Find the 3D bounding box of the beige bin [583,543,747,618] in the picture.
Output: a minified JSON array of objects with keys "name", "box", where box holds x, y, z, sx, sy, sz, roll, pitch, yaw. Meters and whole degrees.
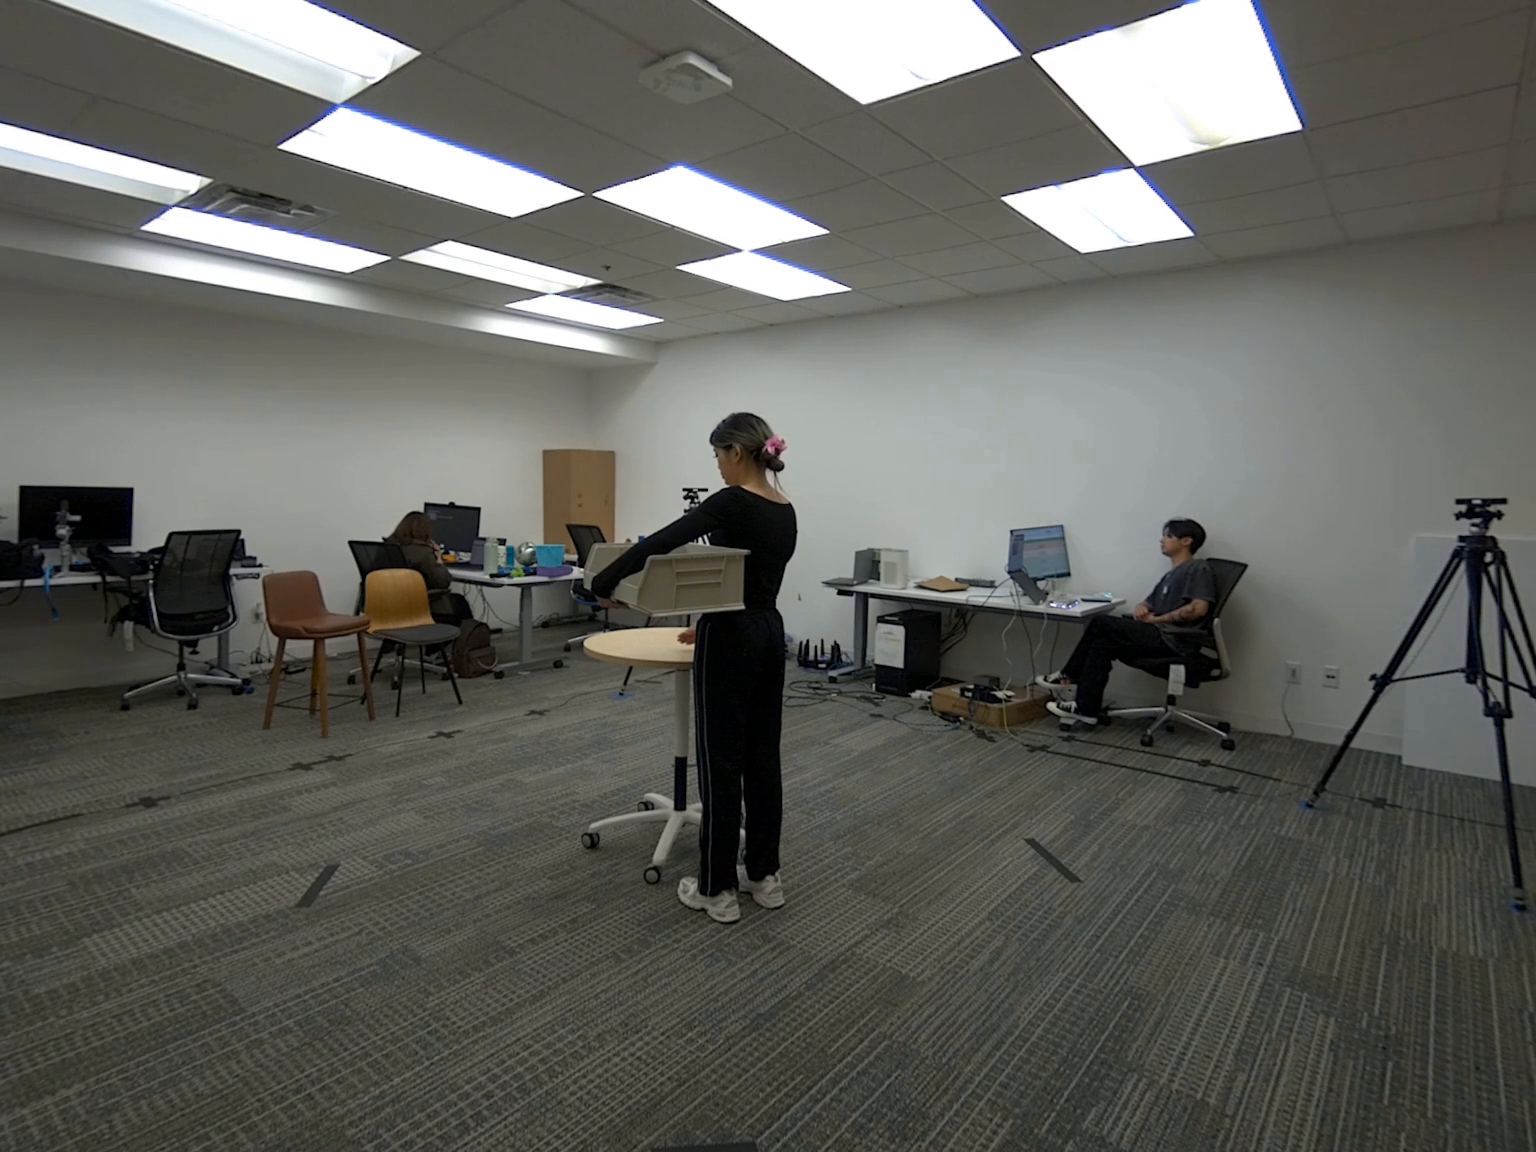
[{"name":"beige bin","box":[-0.341,0.001,2.669,0.367,0.188,0.436,-2,7,-32]}]
